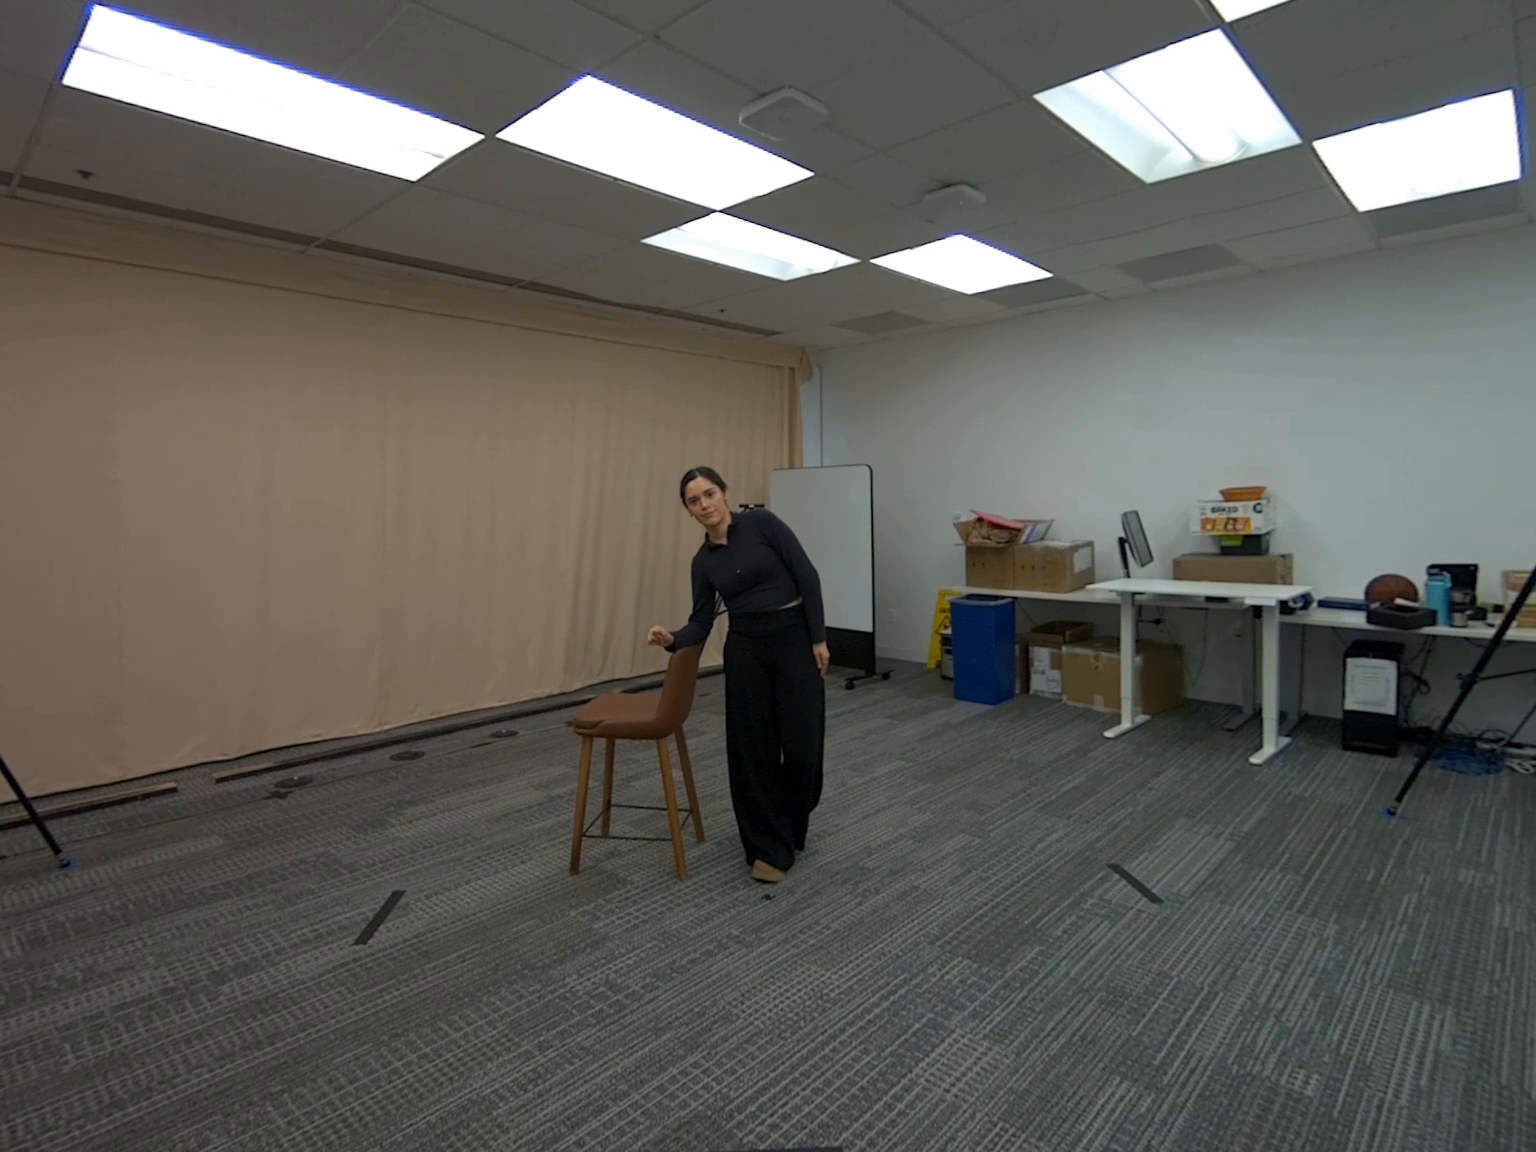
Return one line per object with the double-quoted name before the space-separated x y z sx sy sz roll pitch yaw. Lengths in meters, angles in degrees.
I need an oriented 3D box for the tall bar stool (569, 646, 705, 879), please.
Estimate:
"tall bar stool" -0.514 0.687 3.343 0.473 0.888 0.452 1 3 9
